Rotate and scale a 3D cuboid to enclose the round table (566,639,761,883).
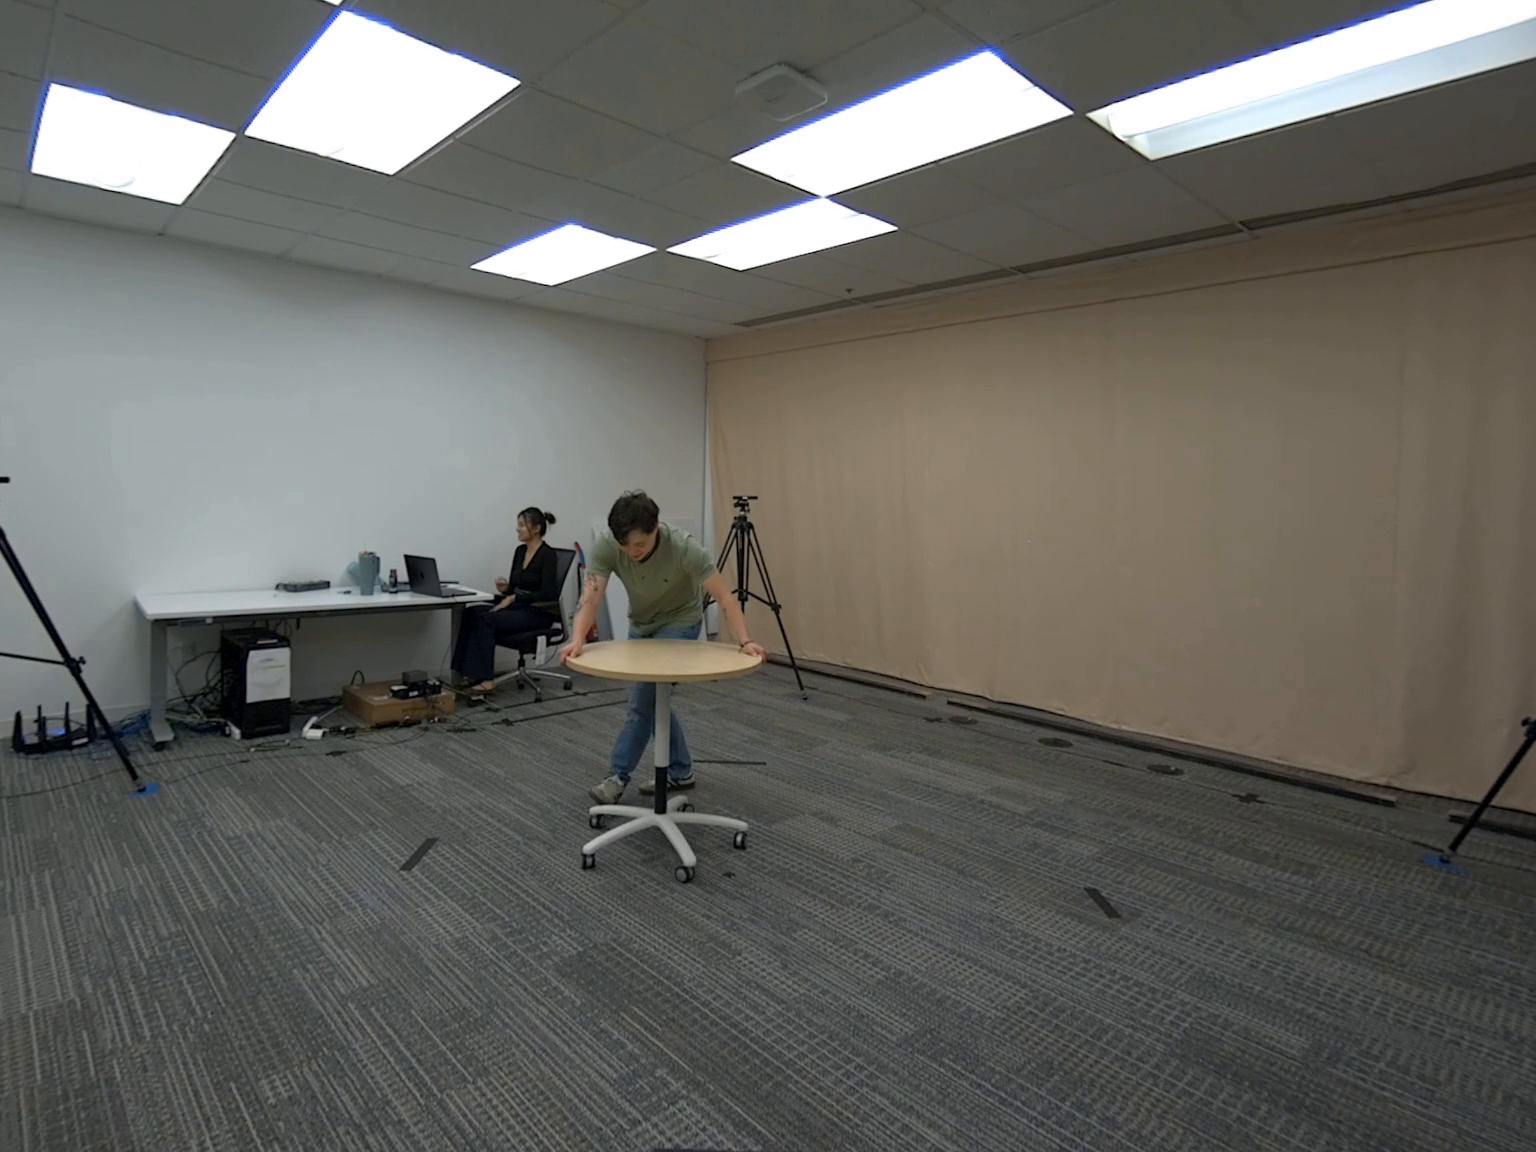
[{"bbox_3d":[-0.428,0.695,3.316,0.763,0.792,0.766,2,3,-1],"label":"round table"}]
